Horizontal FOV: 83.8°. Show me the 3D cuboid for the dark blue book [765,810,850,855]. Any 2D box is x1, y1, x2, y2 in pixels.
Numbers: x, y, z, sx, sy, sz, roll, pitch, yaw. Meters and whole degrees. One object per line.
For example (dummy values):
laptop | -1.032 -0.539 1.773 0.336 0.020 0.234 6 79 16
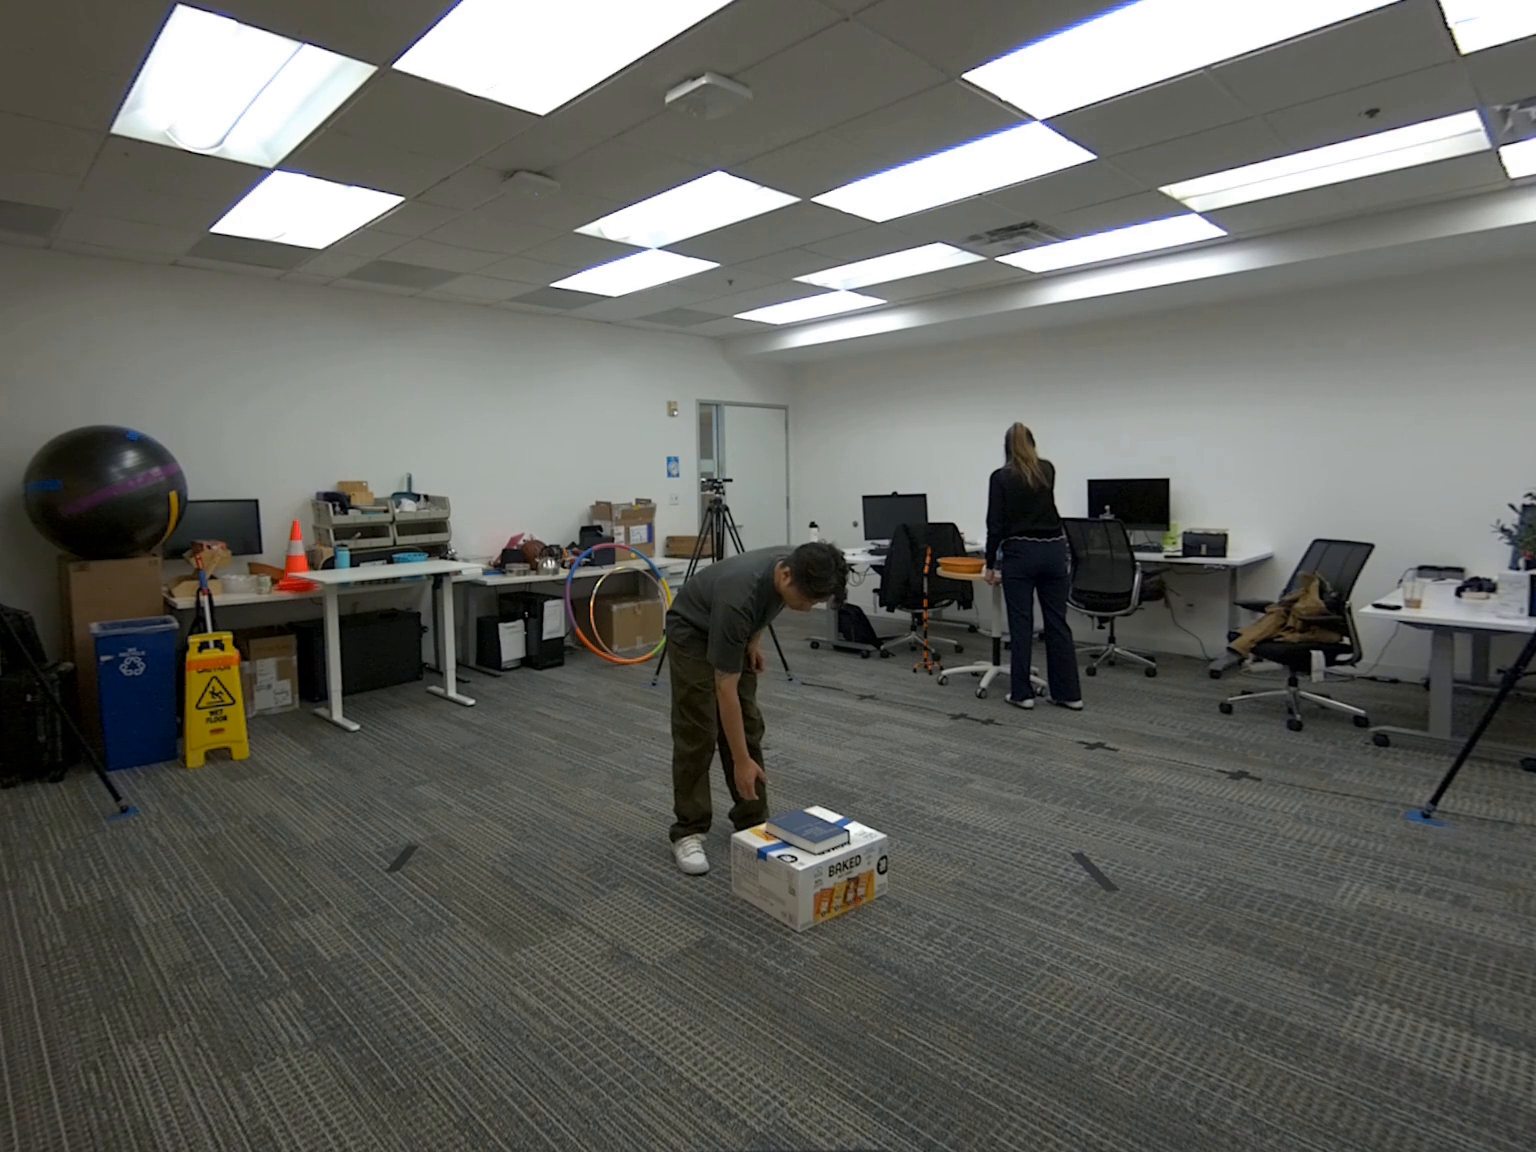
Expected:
dark blue book | 0.140 0.859 2.849 0.159 0.045 0.253 -6 8 -40
